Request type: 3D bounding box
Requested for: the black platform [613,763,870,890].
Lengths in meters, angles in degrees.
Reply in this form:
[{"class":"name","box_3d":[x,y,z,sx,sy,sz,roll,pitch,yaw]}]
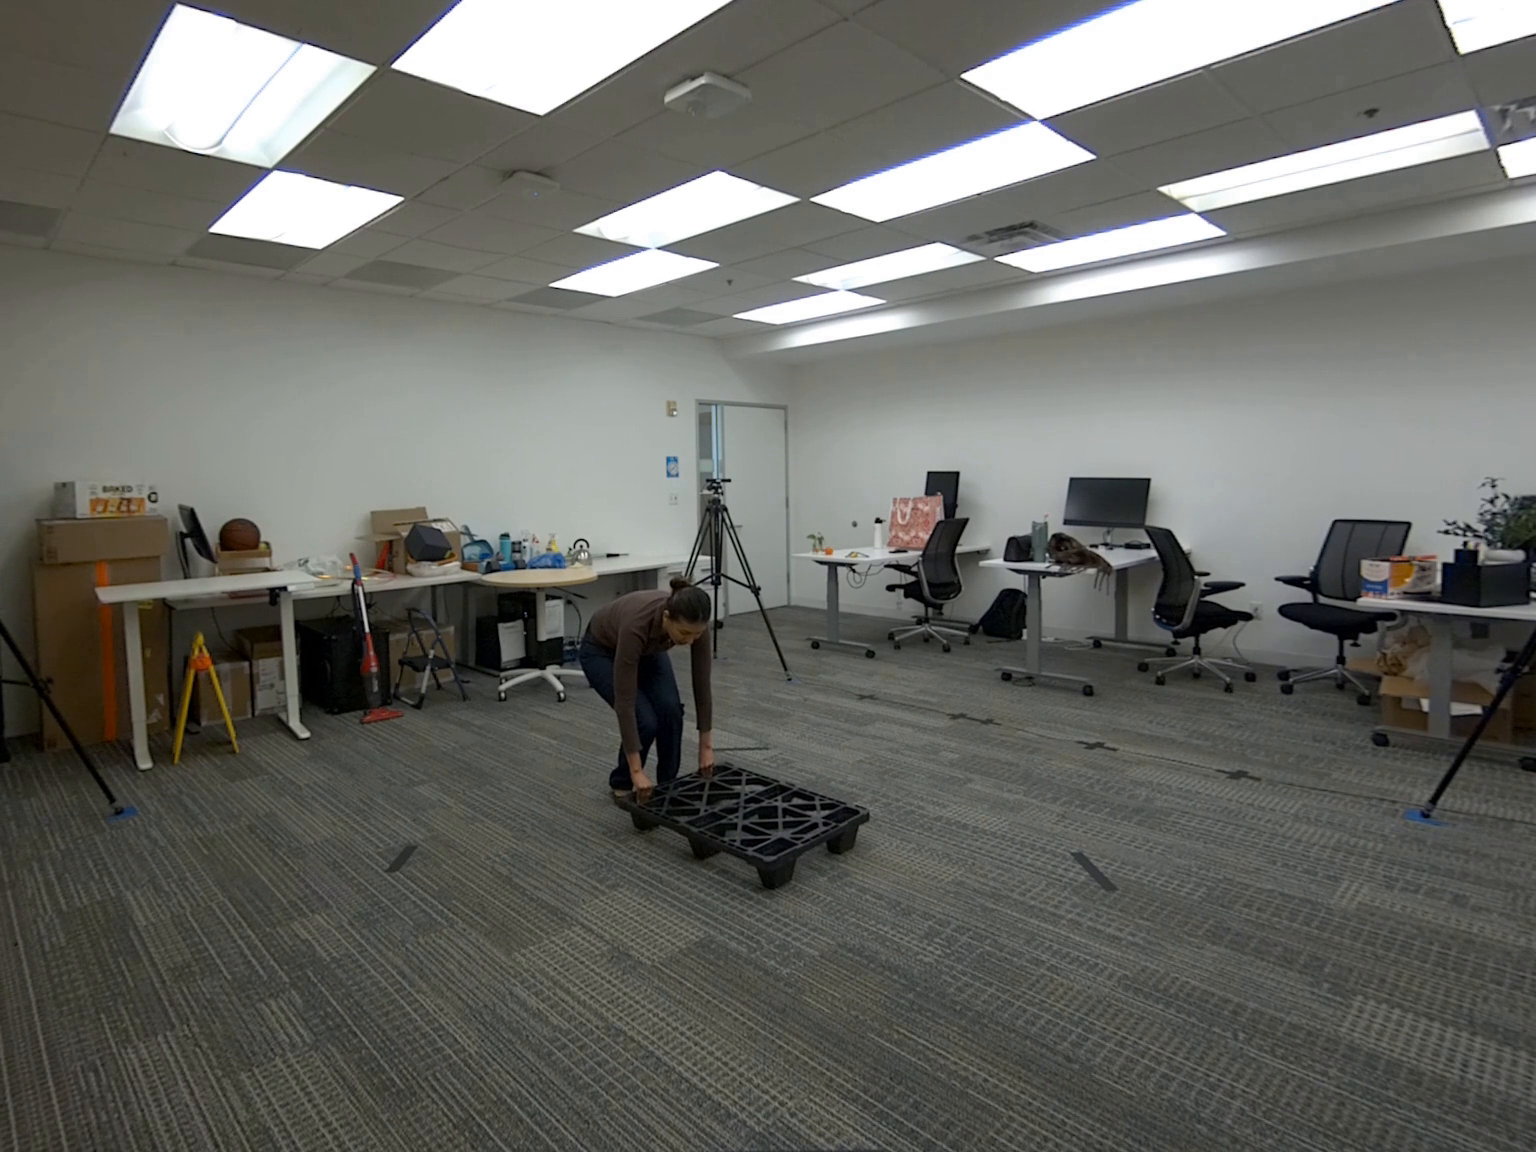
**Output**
[{"class":"black platform","box_3d":[-0.101,0.950,3.315,0.831,0.142,0.589,6,9,42]}]
